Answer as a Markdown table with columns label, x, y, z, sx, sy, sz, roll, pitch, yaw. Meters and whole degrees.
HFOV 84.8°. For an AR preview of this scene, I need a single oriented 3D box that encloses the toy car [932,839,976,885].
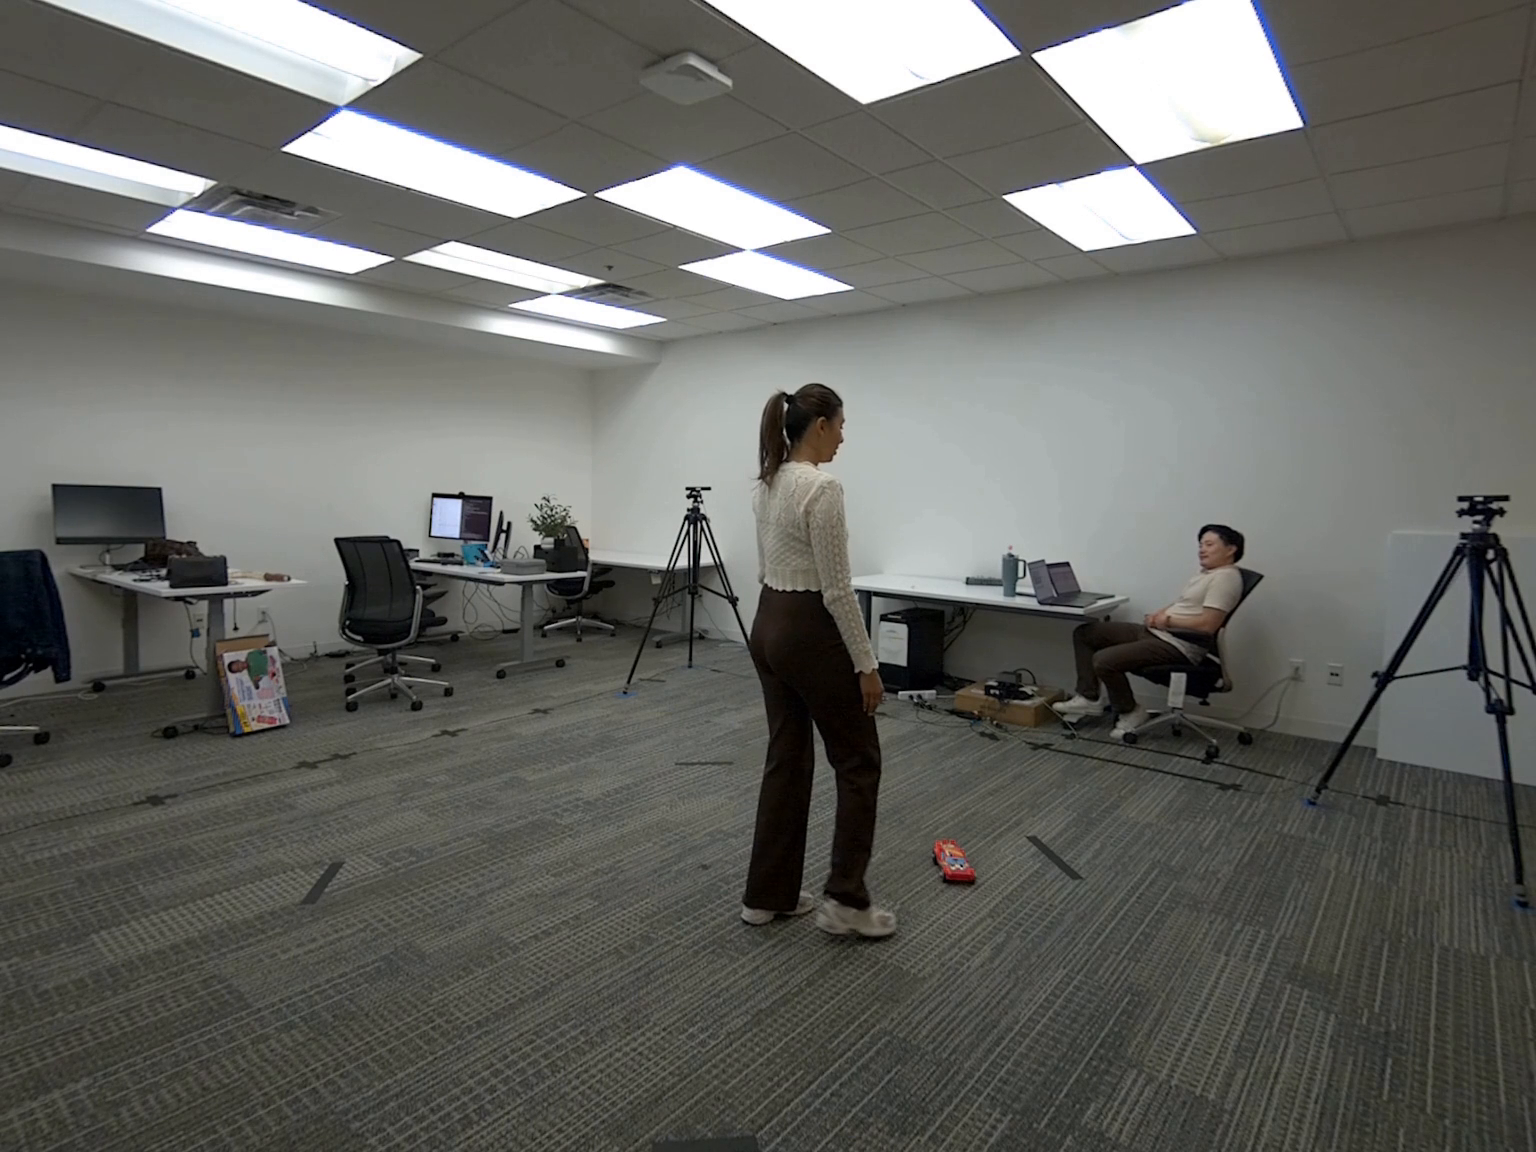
| label | x | y | z | sx | sy | sz | roll | pitch | yaw |
| --- | --- | --- | --- | --- | --- | --- | --- | --- | --- |
| toy car | 0.677 | 1.050 | 3.142 | 0.130 | 0.082 | 0.258 | 0 | 17 | 0 |
